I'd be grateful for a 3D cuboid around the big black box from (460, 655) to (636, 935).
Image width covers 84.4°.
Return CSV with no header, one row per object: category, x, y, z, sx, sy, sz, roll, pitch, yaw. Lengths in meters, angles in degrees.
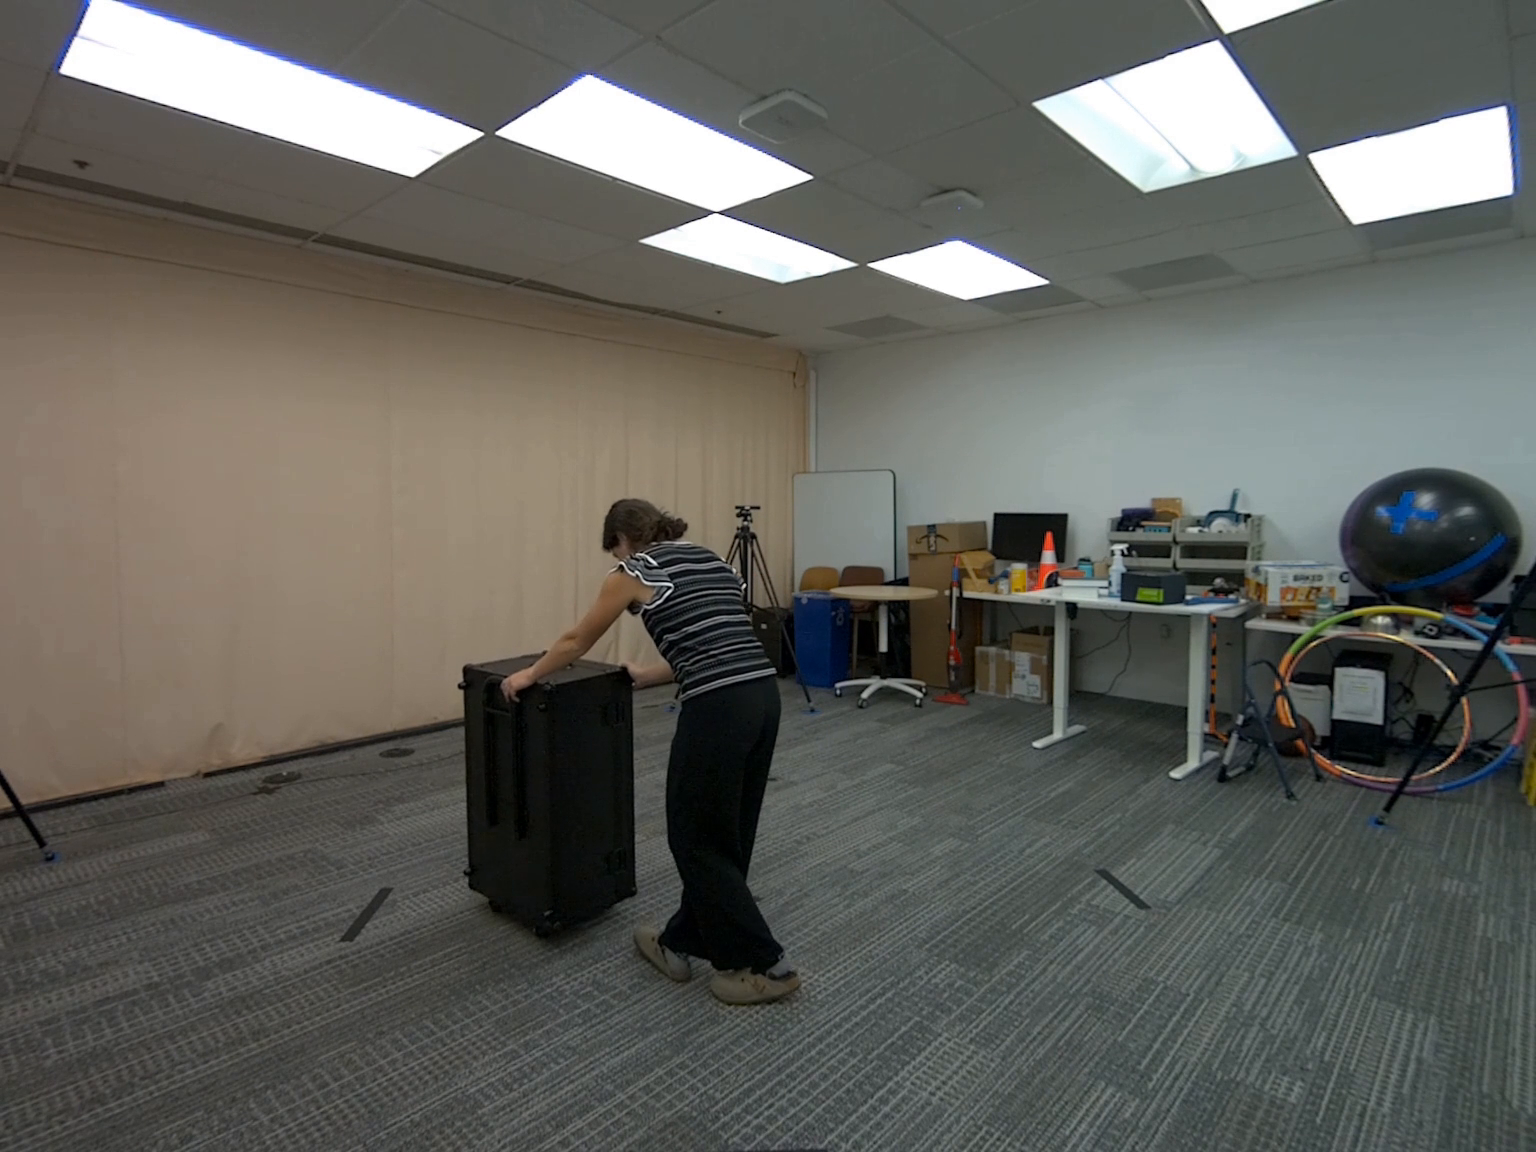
big black box,-0.749,0.736,2.869,0.538,0.859,0.384,3,6,40
